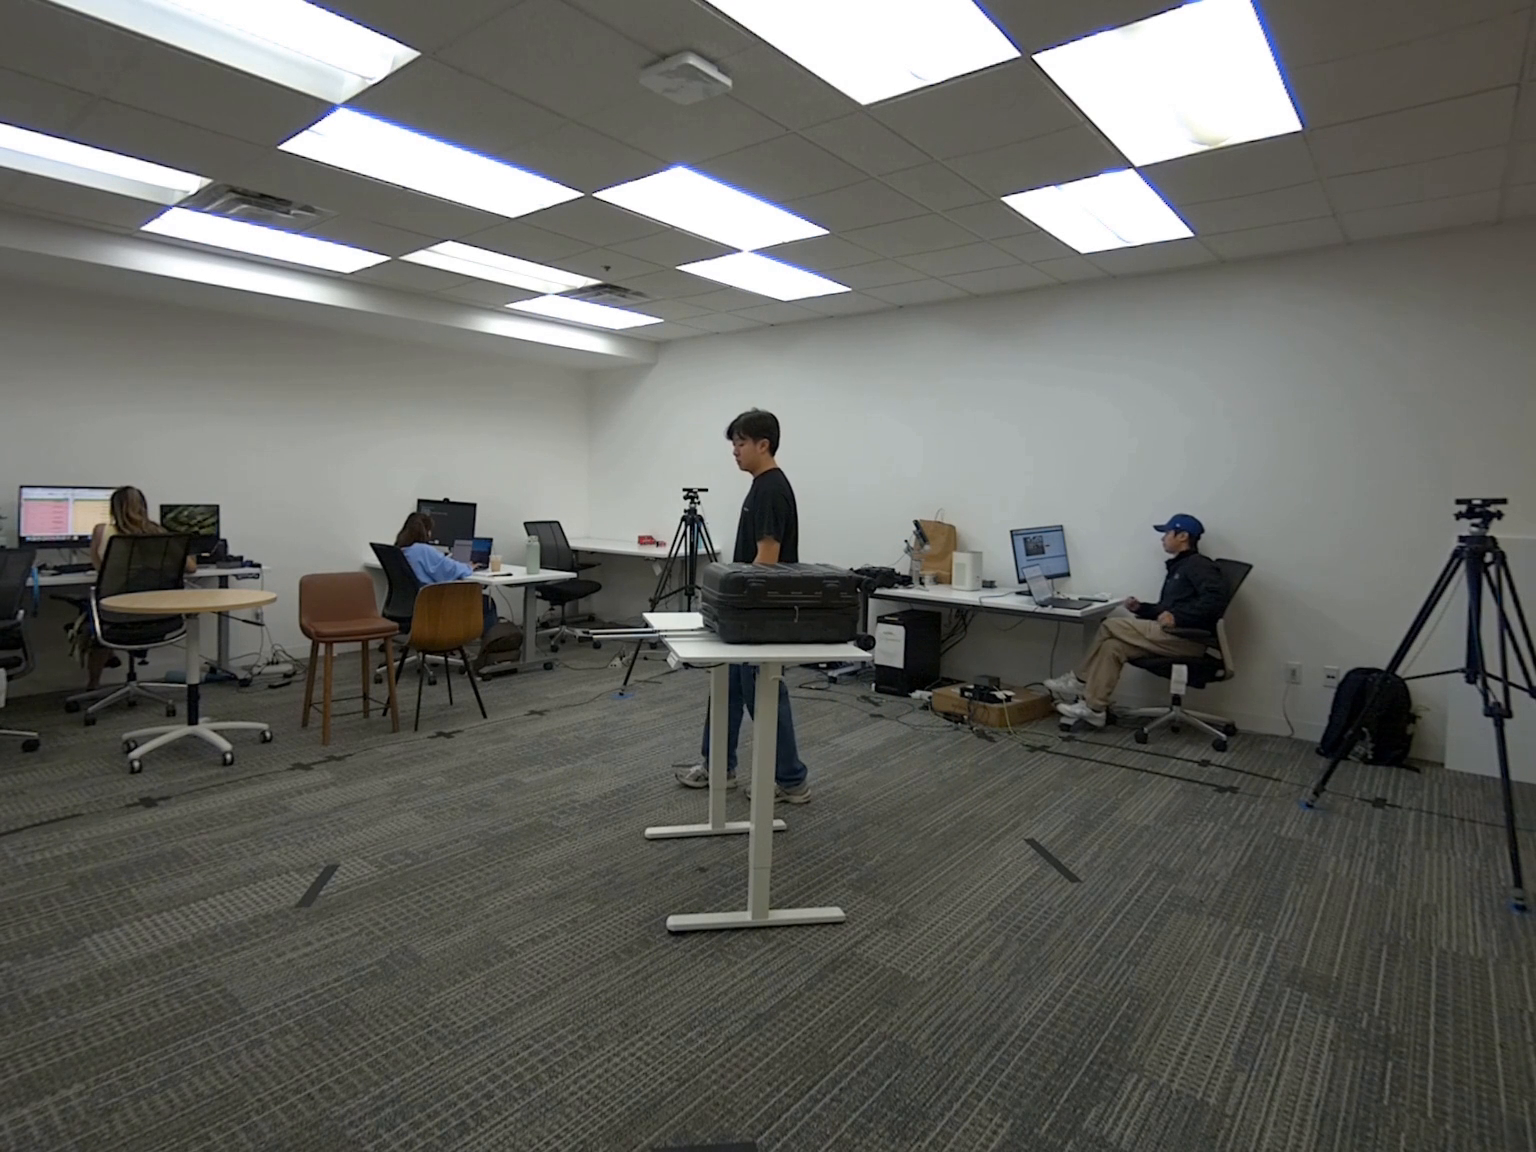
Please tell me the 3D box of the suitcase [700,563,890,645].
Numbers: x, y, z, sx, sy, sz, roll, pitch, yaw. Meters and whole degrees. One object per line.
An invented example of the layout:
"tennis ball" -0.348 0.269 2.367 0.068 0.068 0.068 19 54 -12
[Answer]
"suitcase" -0.153 0.086 2.889 0.963 0.256 0.391 2 4 -14
